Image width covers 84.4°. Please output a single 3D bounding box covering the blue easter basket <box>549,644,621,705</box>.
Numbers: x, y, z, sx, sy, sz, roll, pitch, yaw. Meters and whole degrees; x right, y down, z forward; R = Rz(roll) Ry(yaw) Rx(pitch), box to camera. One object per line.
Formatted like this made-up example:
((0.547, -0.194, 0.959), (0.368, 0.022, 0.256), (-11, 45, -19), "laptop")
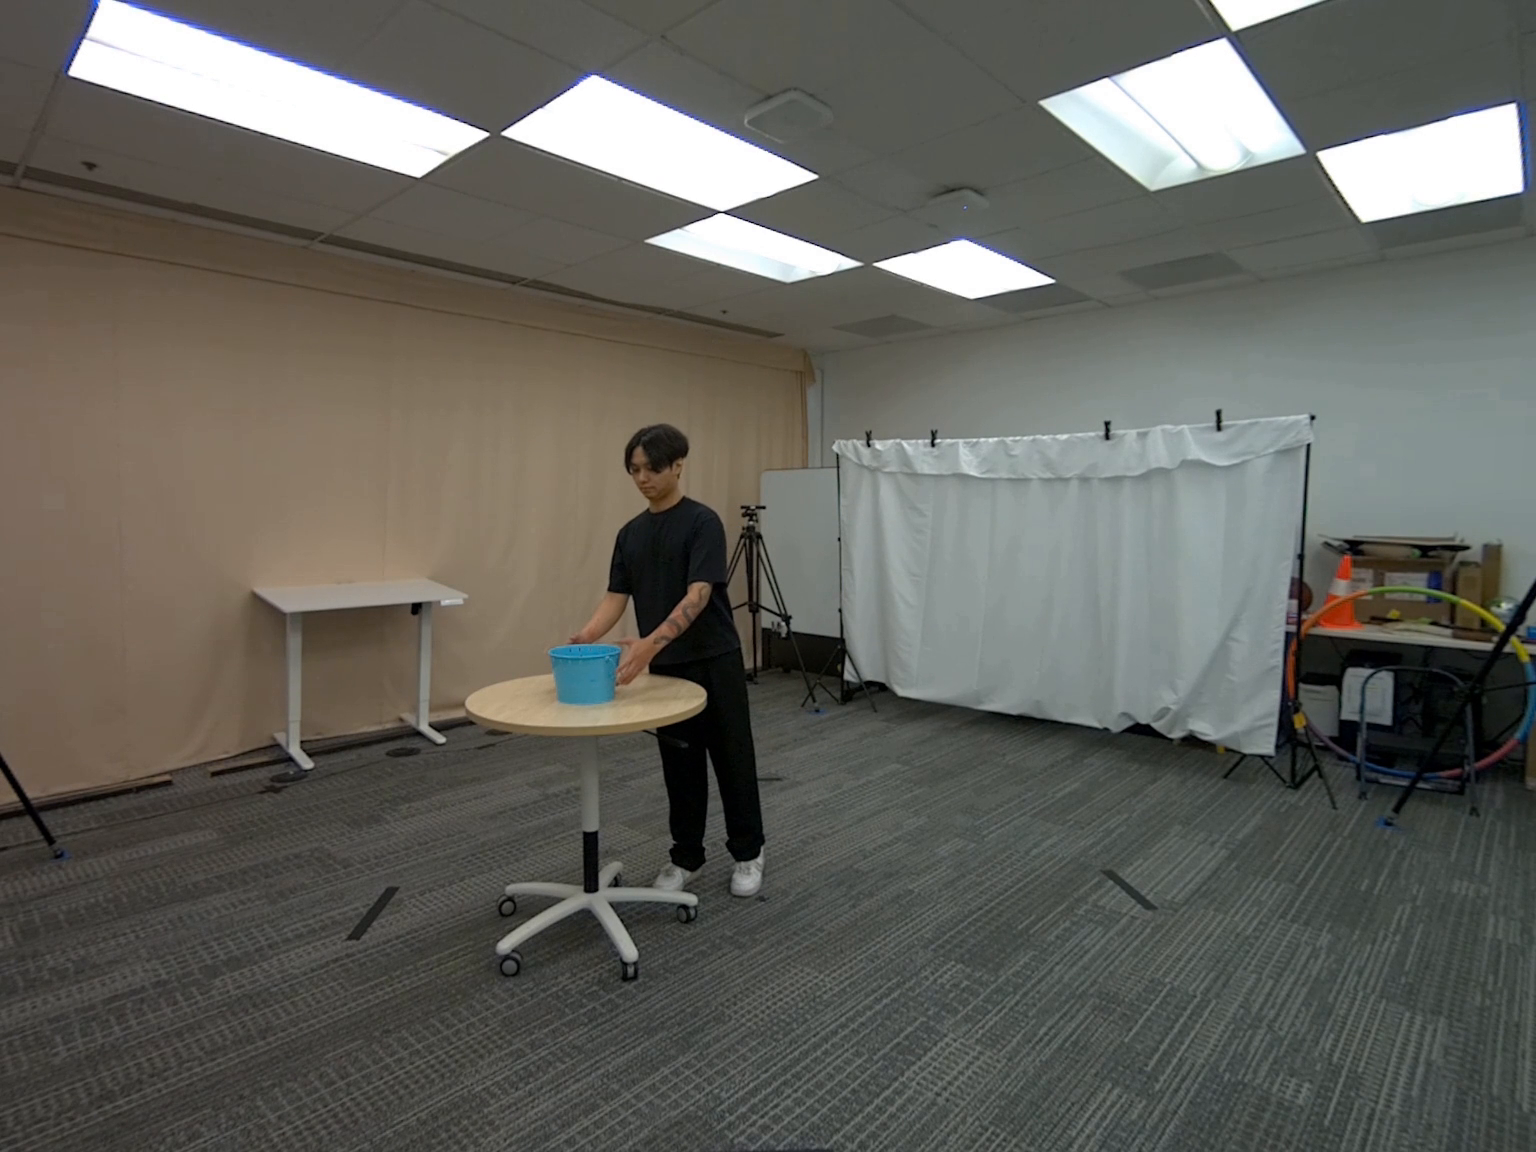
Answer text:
((-0.574, 0.313, 2.678), (0.243, 0.155, 0.244), (-1, 5, -2), "blue easter basket")
